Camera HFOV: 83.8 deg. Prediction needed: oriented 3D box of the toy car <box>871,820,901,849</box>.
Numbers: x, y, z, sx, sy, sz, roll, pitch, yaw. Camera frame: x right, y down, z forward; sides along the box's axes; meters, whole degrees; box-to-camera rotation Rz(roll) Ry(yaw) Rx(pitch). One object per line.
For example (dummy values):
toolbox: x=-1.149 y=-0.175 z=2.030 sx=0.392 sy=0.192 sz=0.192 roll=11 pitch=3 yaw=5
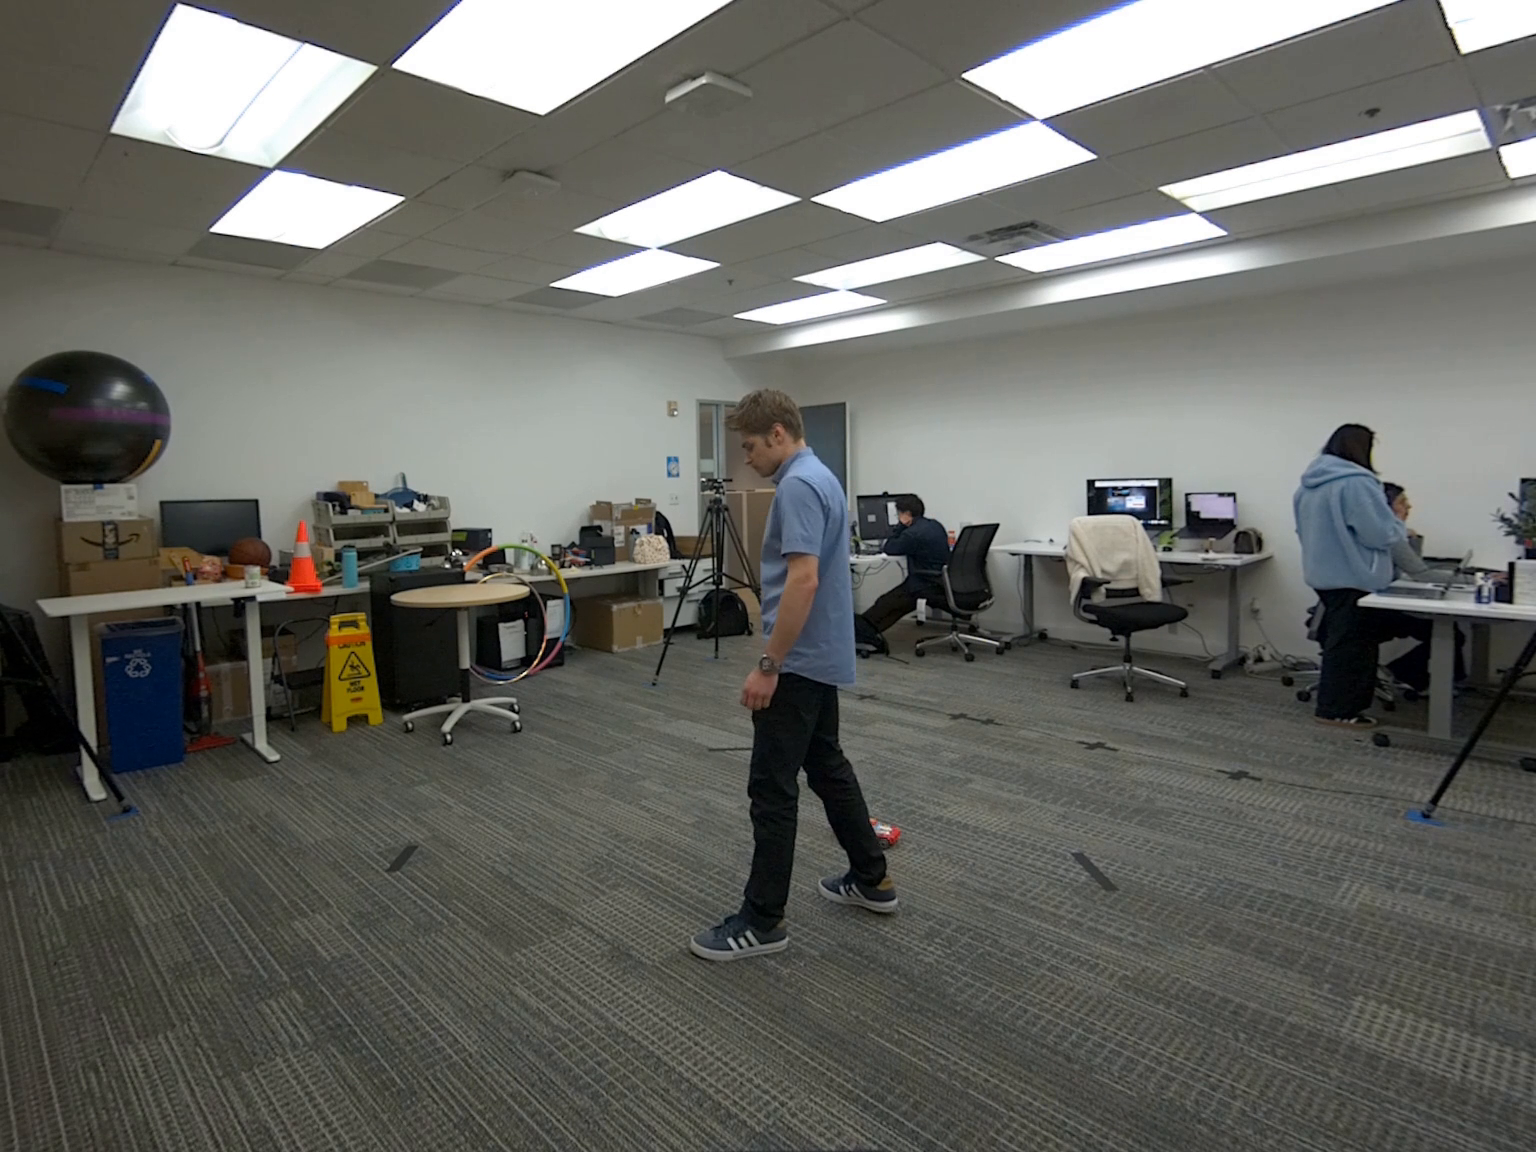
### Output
toy car: x=0.383 y=0.984 z=3.303 sx=0.262 sy=0.082 sz=0.127 roll=15 pitch=13 yaw=30
